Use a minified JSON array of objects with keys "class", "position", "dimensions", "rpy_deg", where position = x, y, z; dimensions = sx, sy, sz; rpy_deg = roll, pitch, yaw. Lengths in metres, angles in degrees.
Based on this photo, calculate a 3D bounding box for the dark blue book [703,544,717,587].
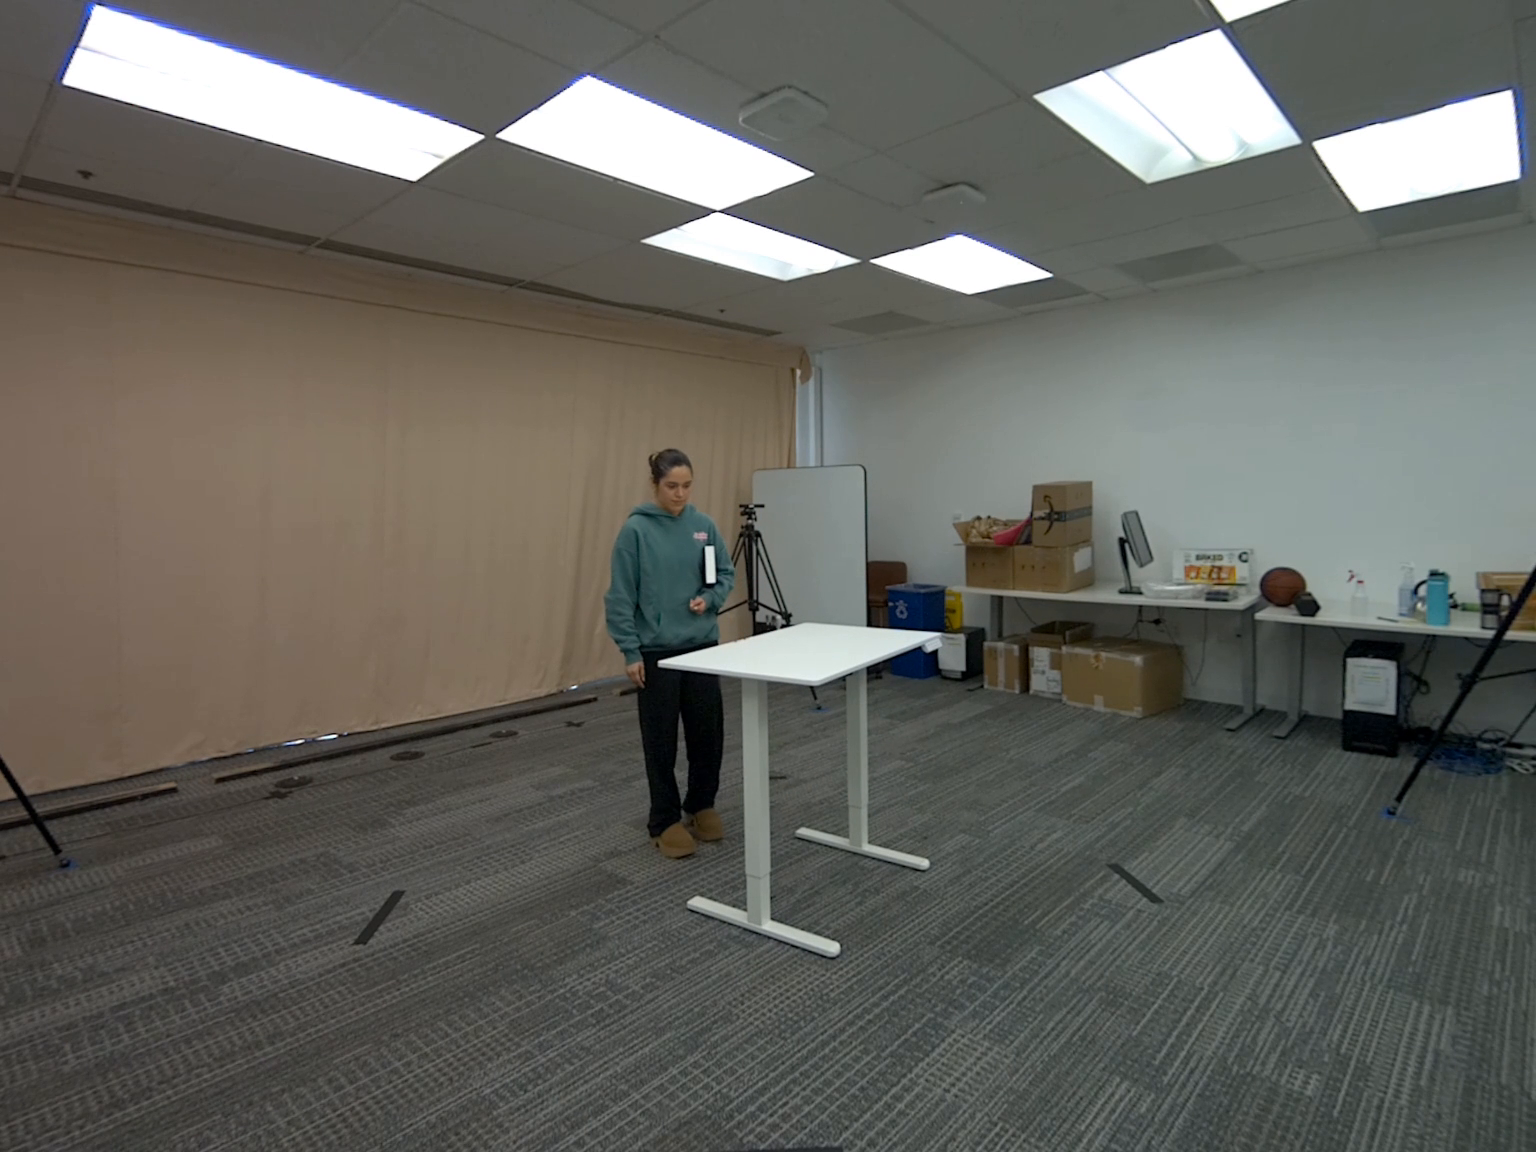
[{"class":"dark blue book","position":[-0.240,-0.024,3.493],"dimensions":[0.045,0.165,0.245],"rpy_deg":[0,-13,-8]}]
